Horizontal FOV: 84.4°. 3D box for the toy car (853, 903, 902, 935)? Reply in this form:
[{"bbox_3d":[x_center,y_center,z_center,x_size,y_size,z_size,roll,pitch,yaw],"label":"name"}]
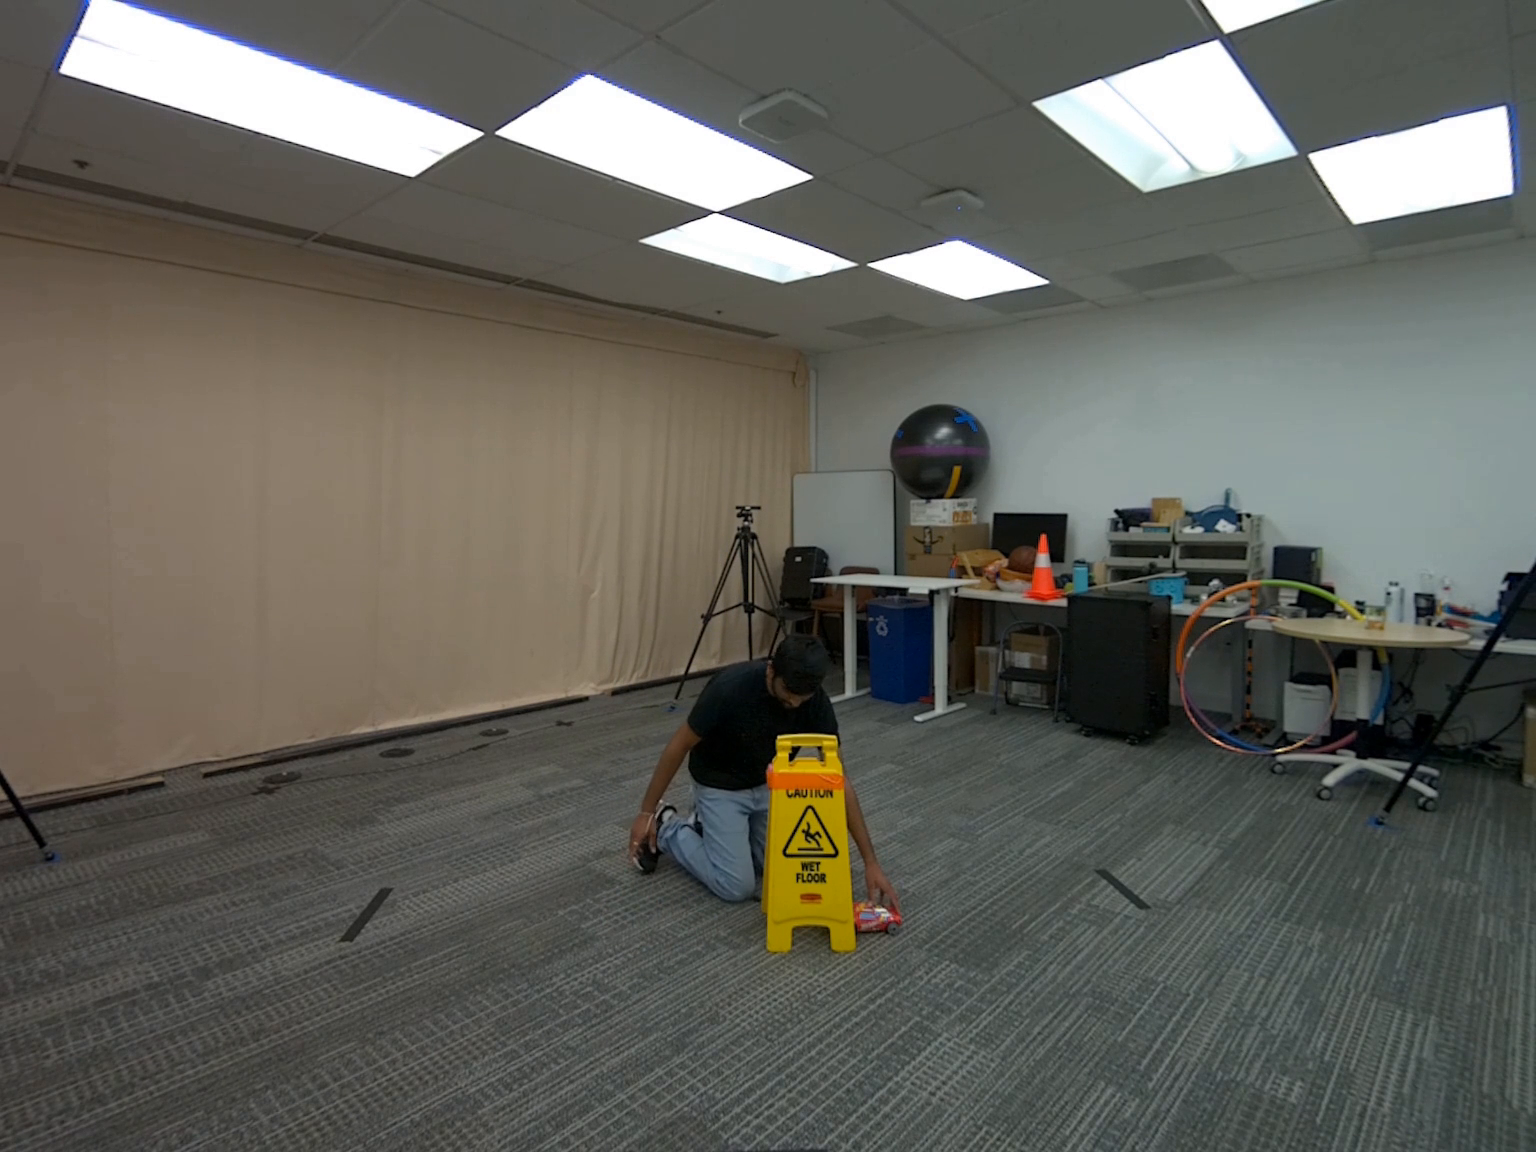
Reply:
[{"bbox_3d":[0.312,1.128,2.770,0.253,0.083,0.131,11,0,-6],"label":"toy car"}]
